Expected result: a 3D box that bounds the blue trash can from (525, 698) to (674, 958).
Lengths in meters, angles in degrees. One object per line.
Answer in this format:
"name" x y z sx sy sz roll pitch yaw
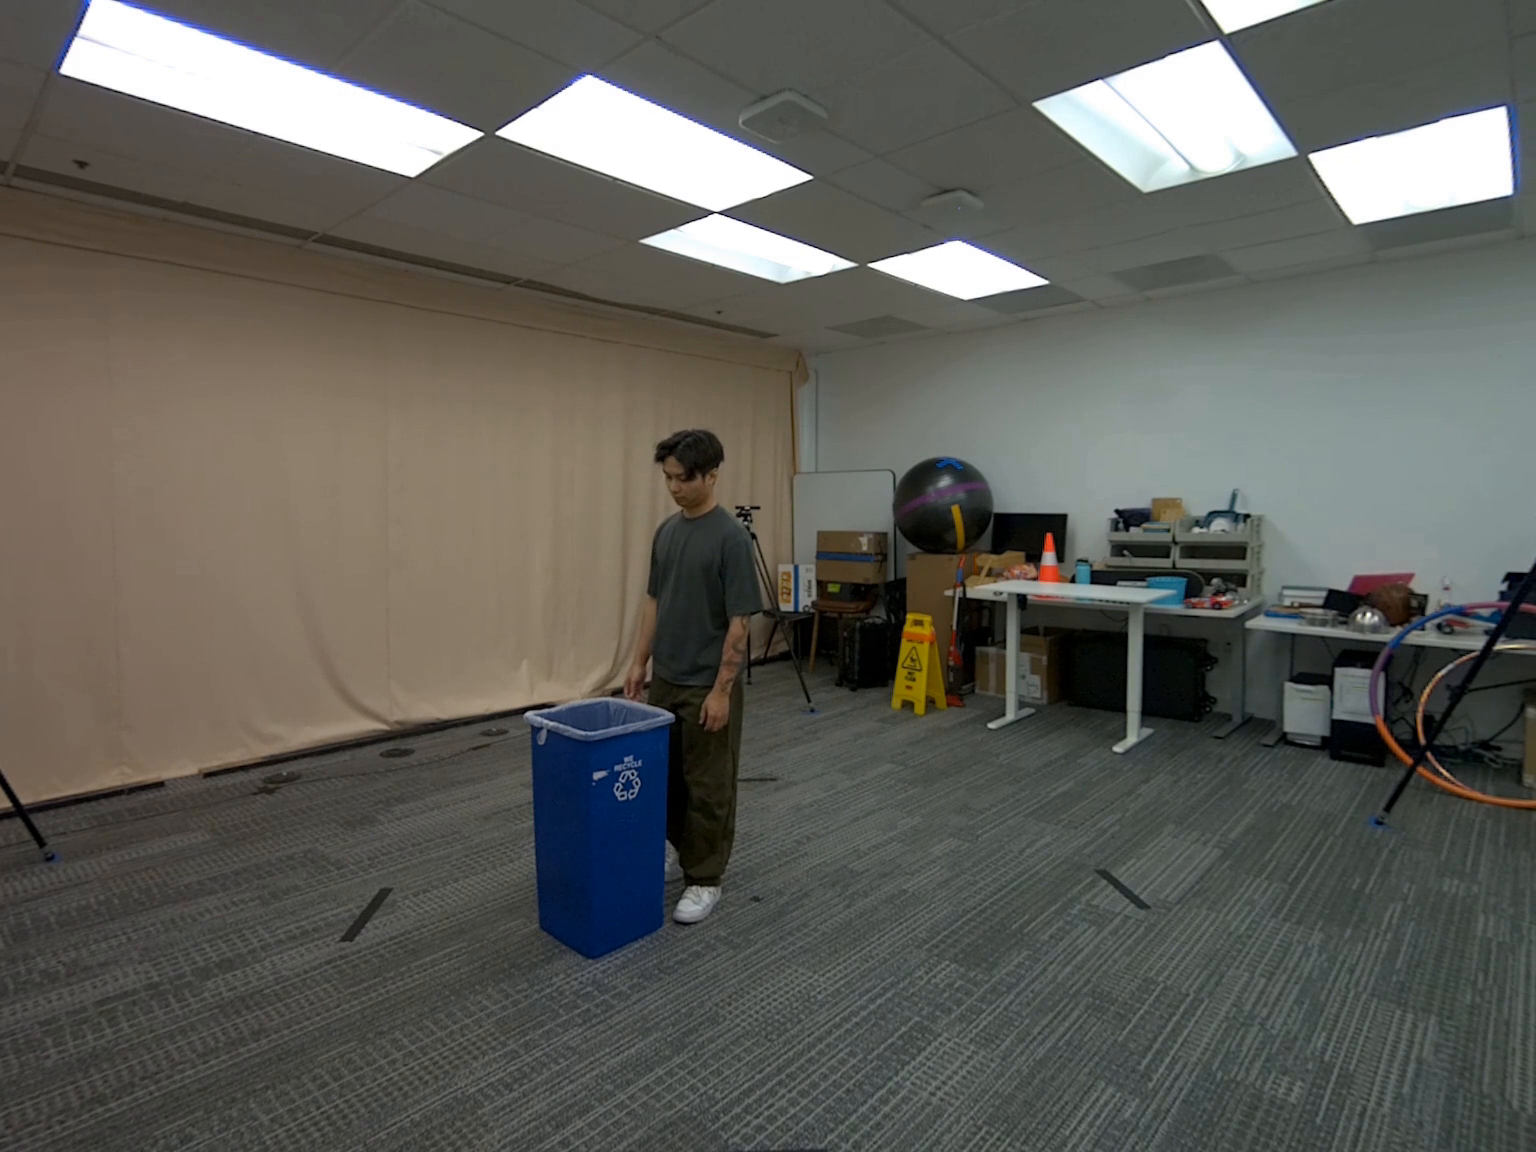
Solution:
"blue trash can" -0.553 0.809 2.780 0.391 0.712 0.362 3 5 43
